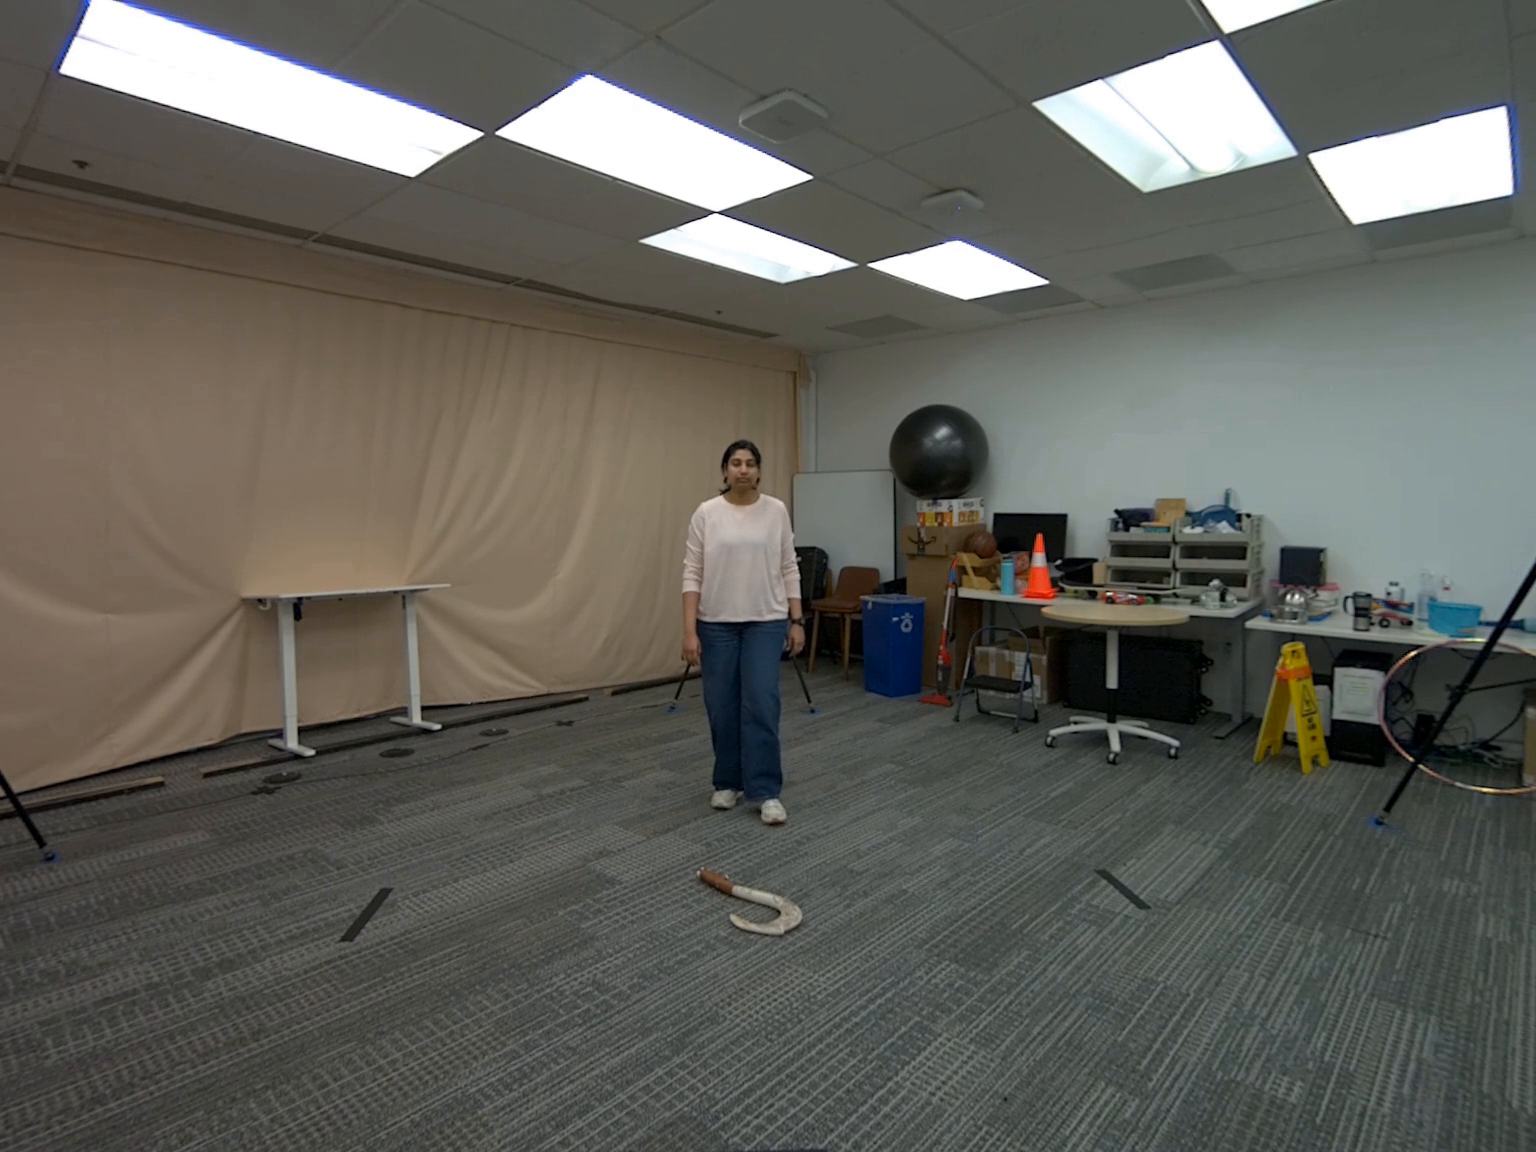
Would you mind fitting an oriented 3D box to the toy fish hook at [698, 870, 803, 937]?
[{"bbox_3d":[-0.109,1.121,2.930,0.218,0.048,0.523,-4,5,-44],"label":"toy fish hook"}]
